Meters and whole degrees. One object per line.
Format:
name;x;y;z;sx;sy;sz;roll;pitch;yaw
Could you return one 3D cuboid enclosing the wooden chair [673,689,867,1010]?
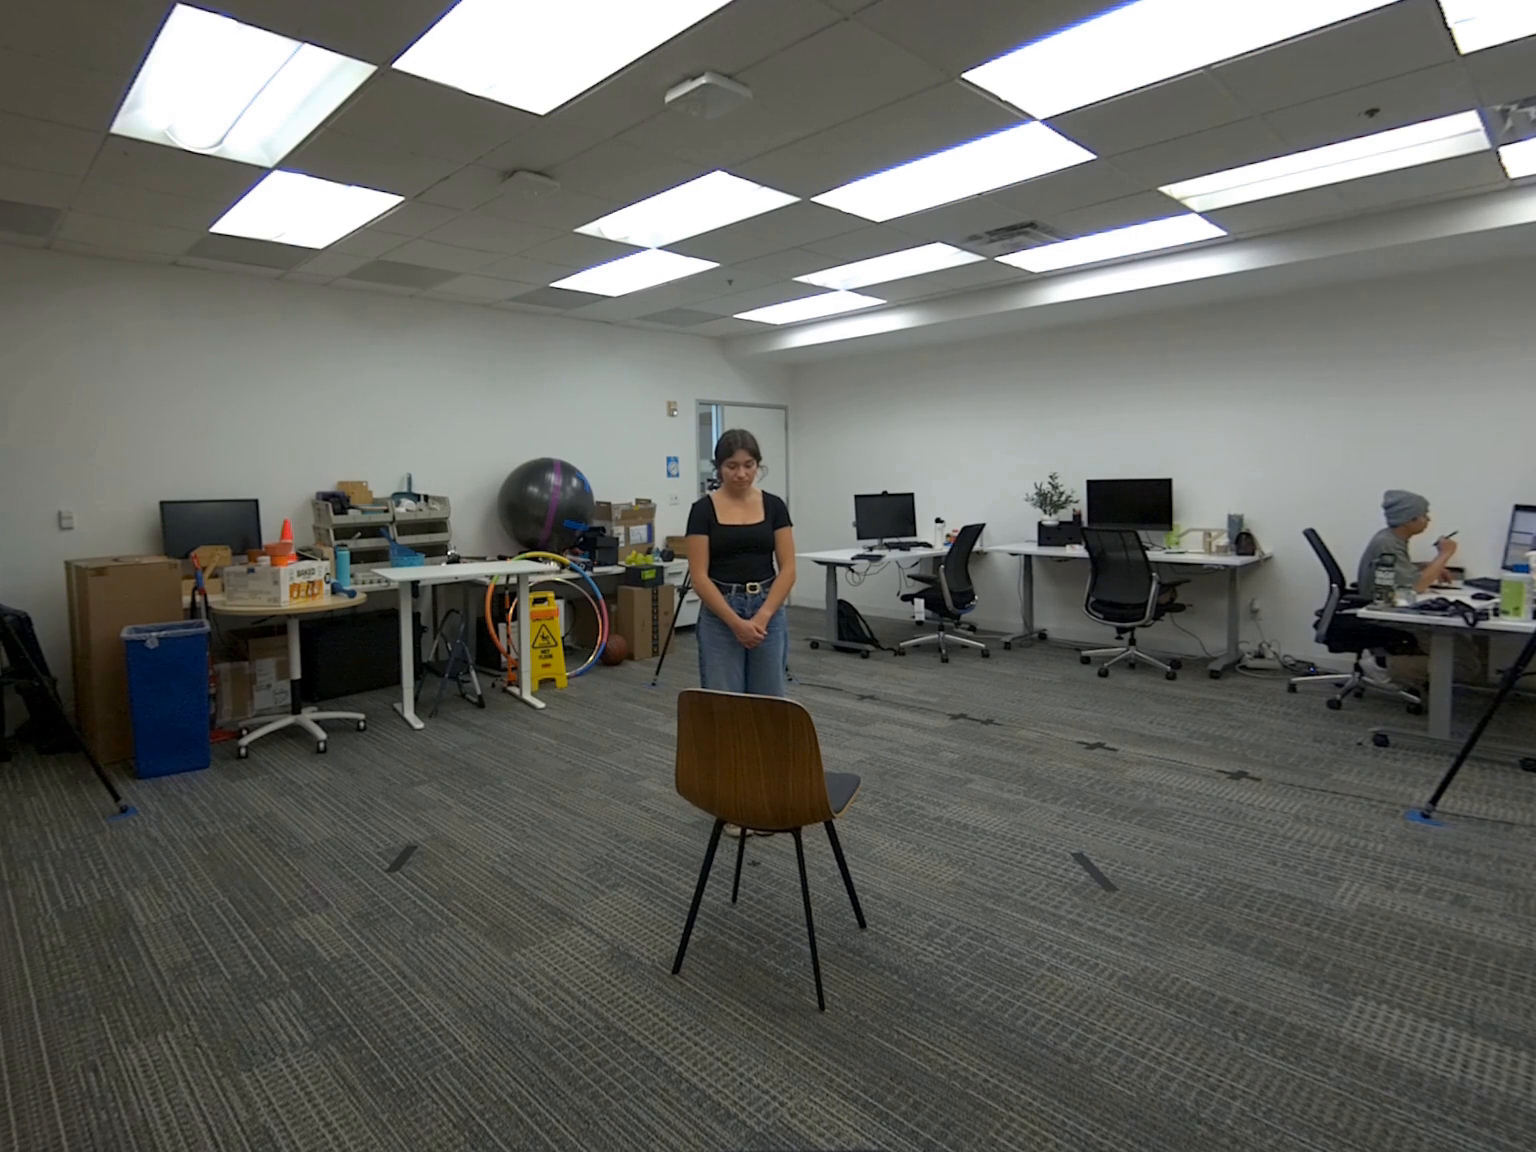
wooden chair;0.009;0.692;2.509;0.488;0.870;0.516;0;9;23
